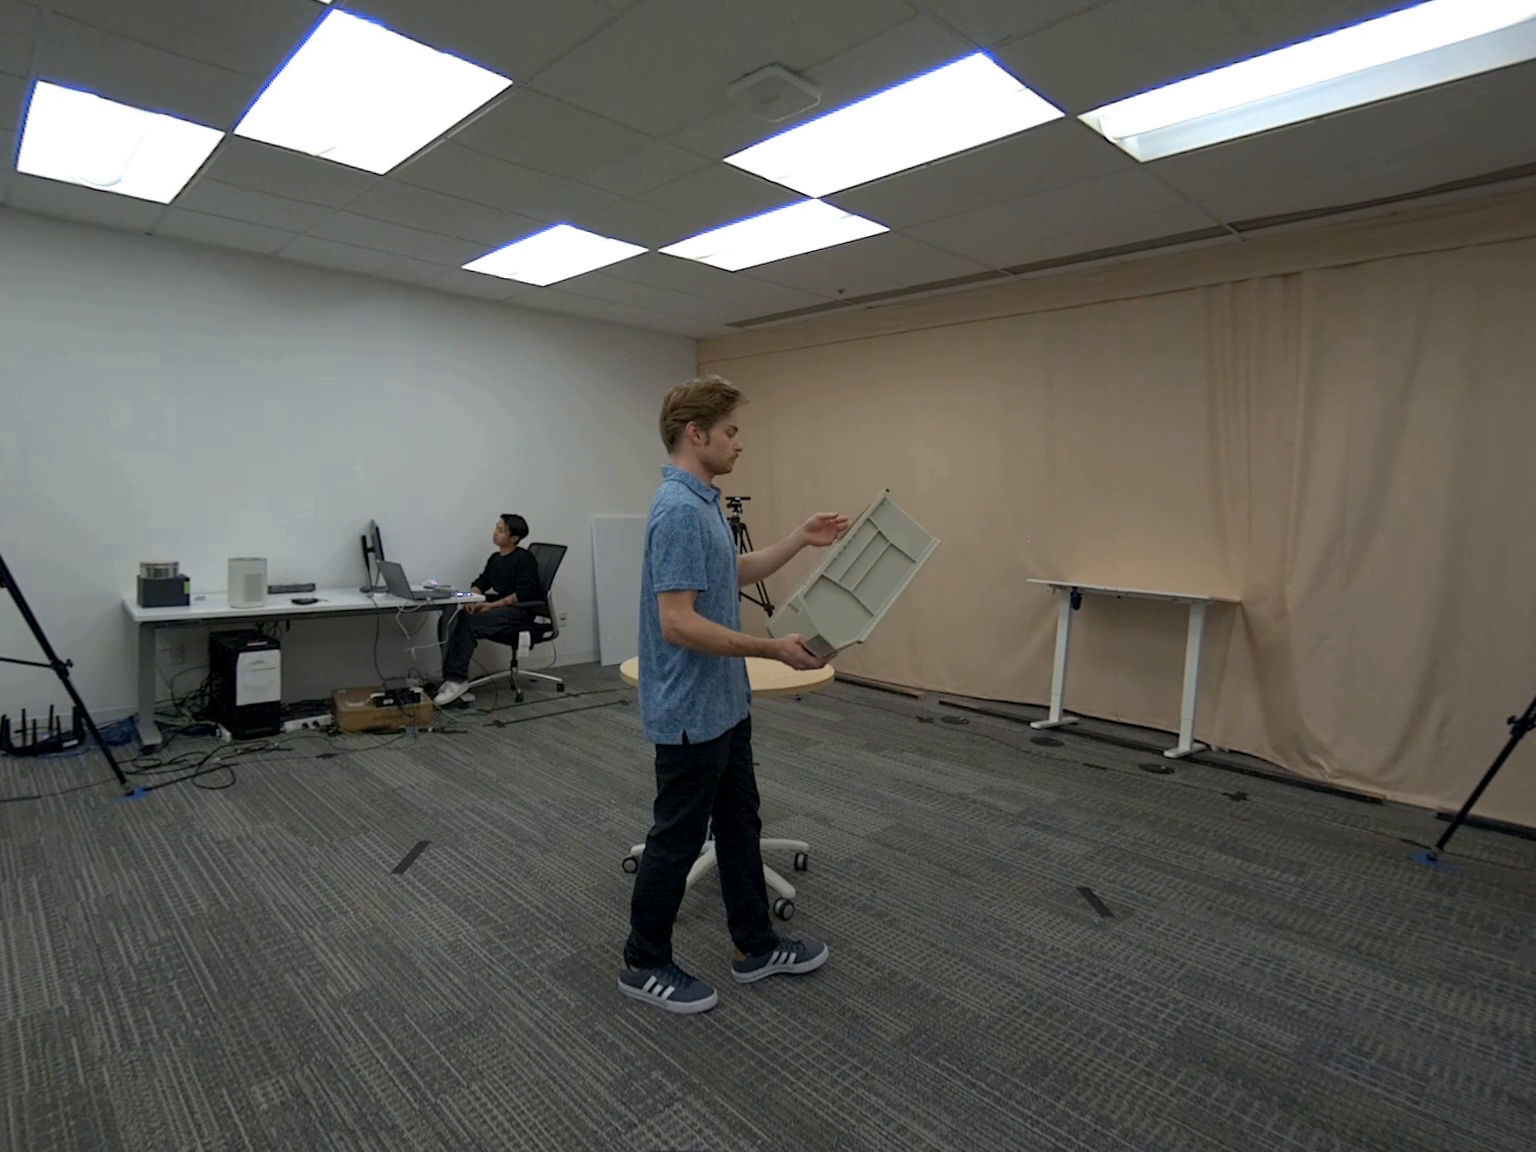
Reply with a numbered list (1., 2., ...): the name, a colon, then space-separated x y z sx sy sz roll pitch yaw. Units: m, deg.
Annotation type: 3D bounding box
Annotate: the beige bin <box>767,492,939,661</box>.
1. beige bin: 0.179 0.036 2.084 0.189 0.377 0.421 40 -17 2
